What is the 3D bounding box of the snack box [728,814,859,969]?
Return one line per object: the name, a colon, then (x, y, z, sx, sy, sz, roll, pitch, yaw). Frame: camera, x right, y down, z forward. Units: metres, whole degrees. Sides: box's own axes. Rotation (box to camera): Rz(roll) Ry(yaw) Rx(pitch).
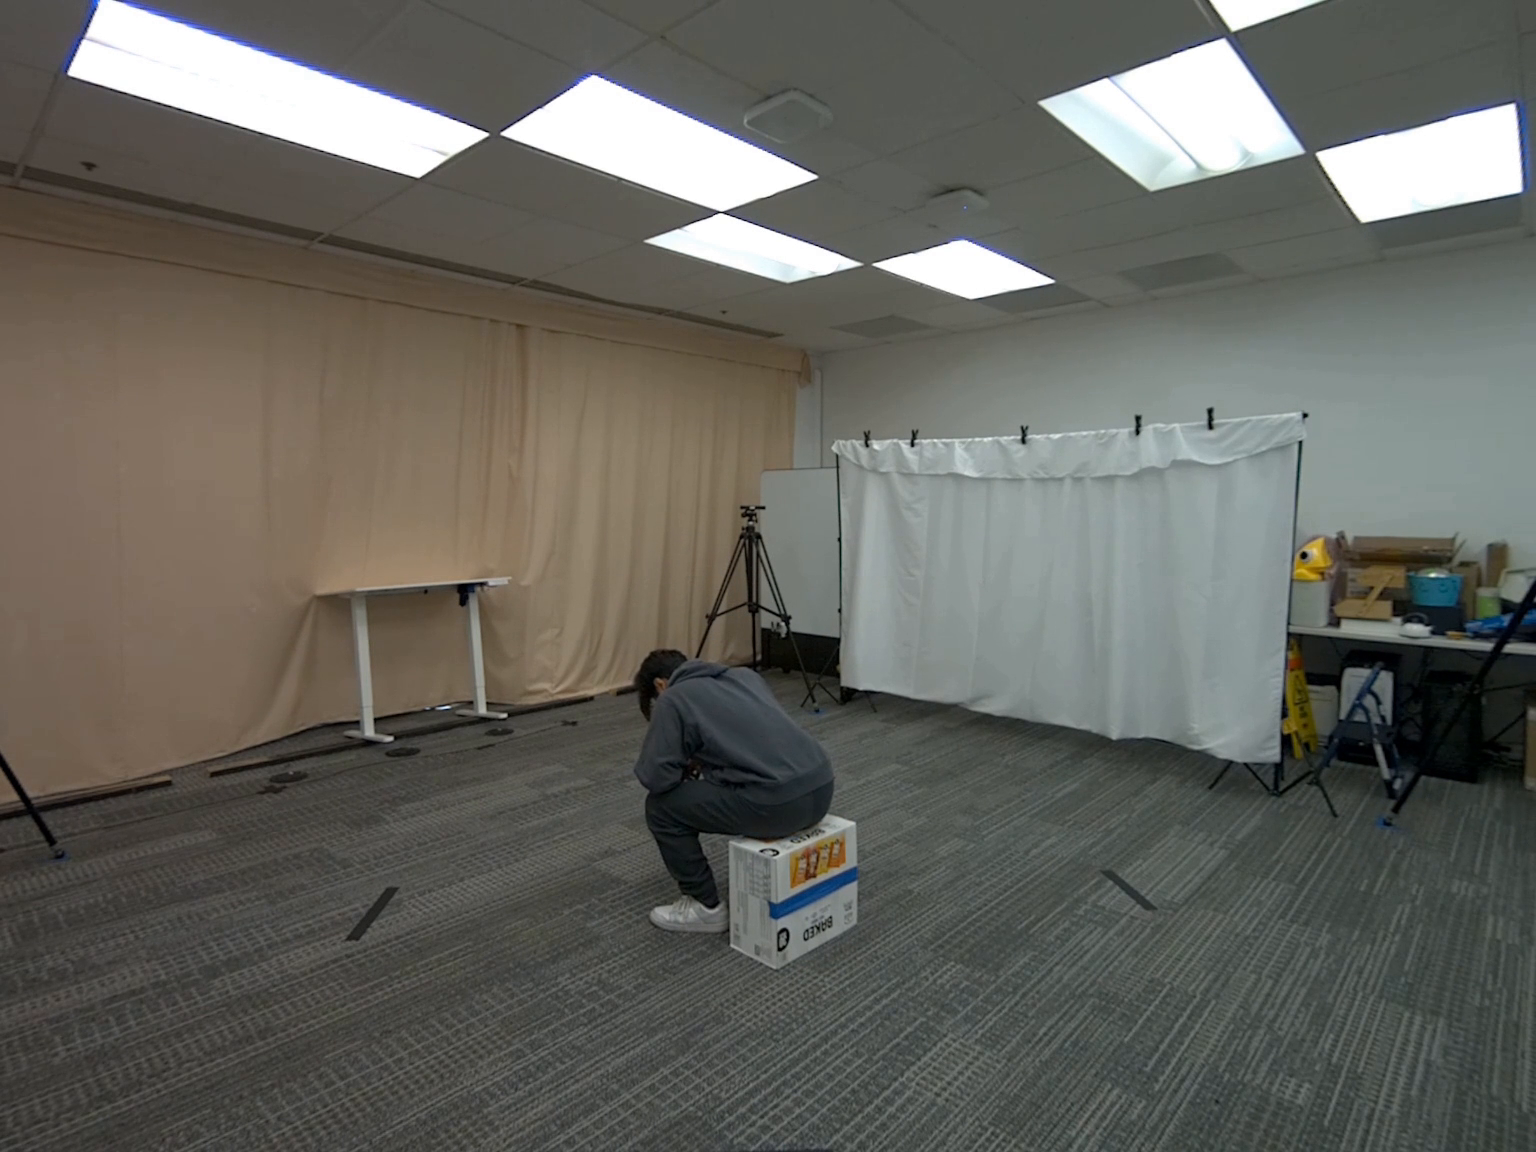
snack box: (0.091, 0.995, 2.726, 0.212, 0.340, 0.393, 1, 3, 44)
